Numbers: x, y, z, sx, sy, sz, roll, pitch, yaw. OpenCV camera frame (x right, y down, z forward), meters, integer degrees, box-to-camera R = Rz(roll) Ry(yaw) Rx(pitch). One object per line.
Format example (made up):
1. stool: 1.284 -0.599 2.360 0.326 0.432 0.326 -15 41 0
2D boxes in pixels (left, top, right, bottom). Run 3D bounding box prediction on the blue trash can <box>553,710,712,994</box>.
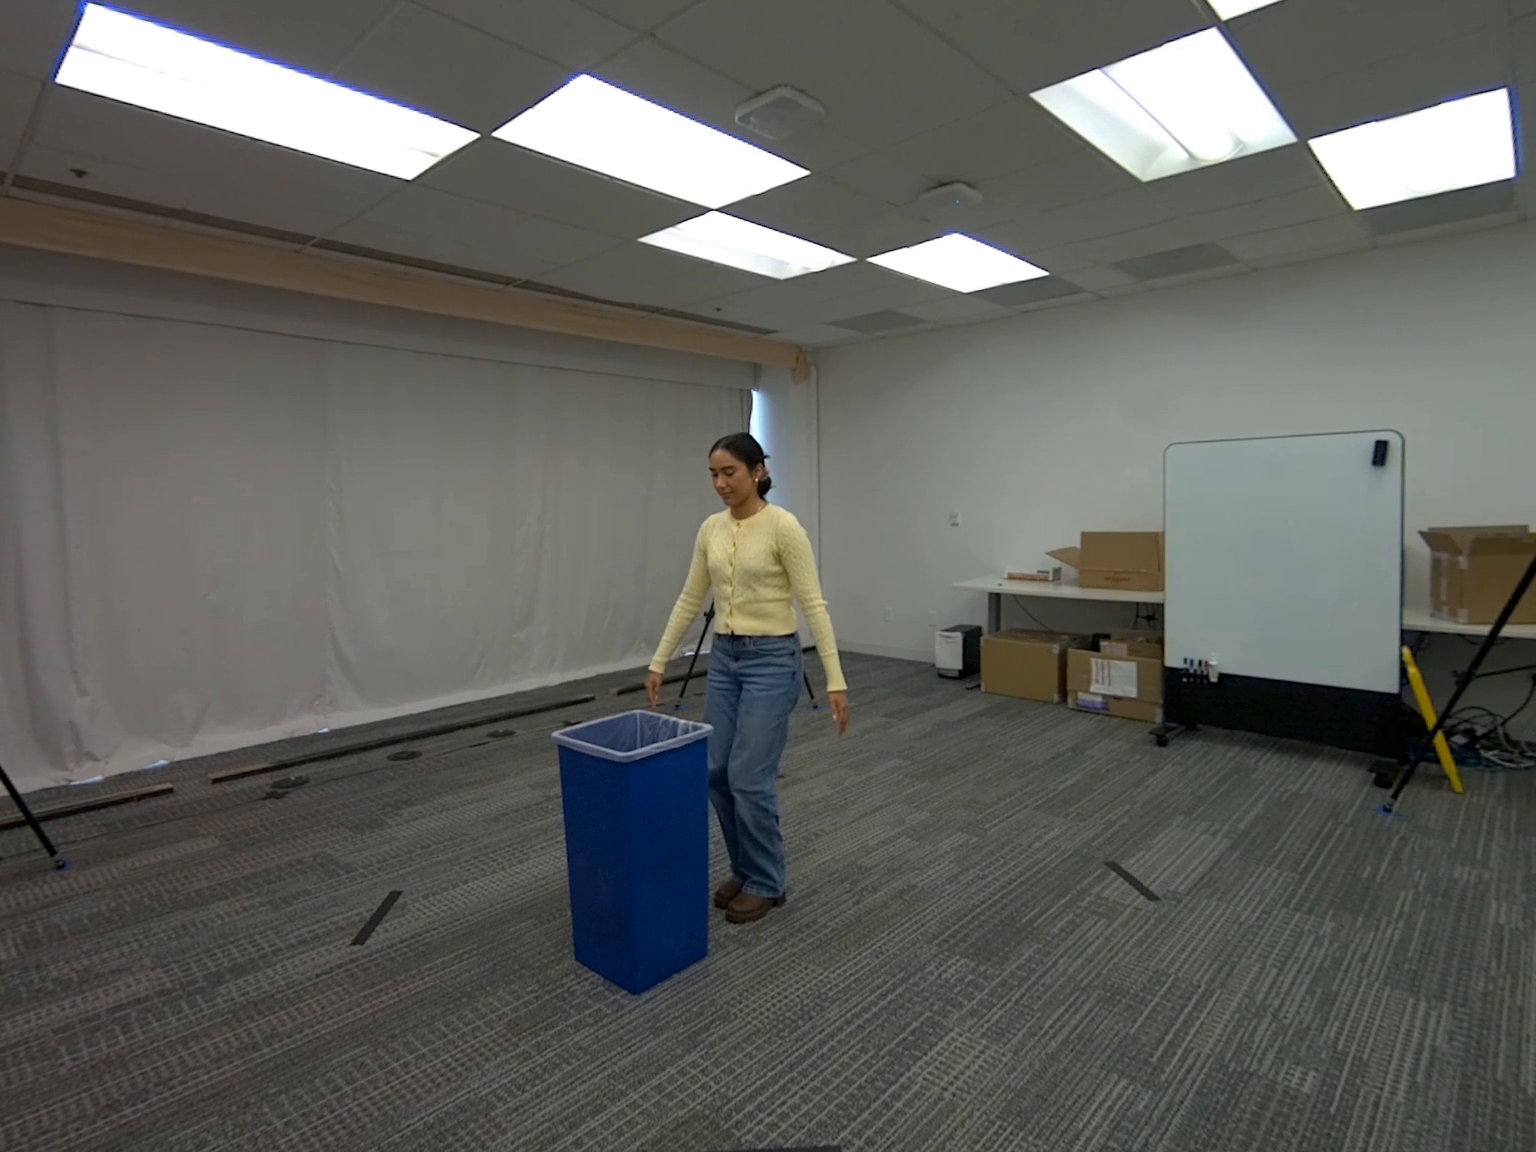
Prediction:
1. blue trash can: -0.403 0.824 2.573 0.390 0.712 0.363 1 4 42
